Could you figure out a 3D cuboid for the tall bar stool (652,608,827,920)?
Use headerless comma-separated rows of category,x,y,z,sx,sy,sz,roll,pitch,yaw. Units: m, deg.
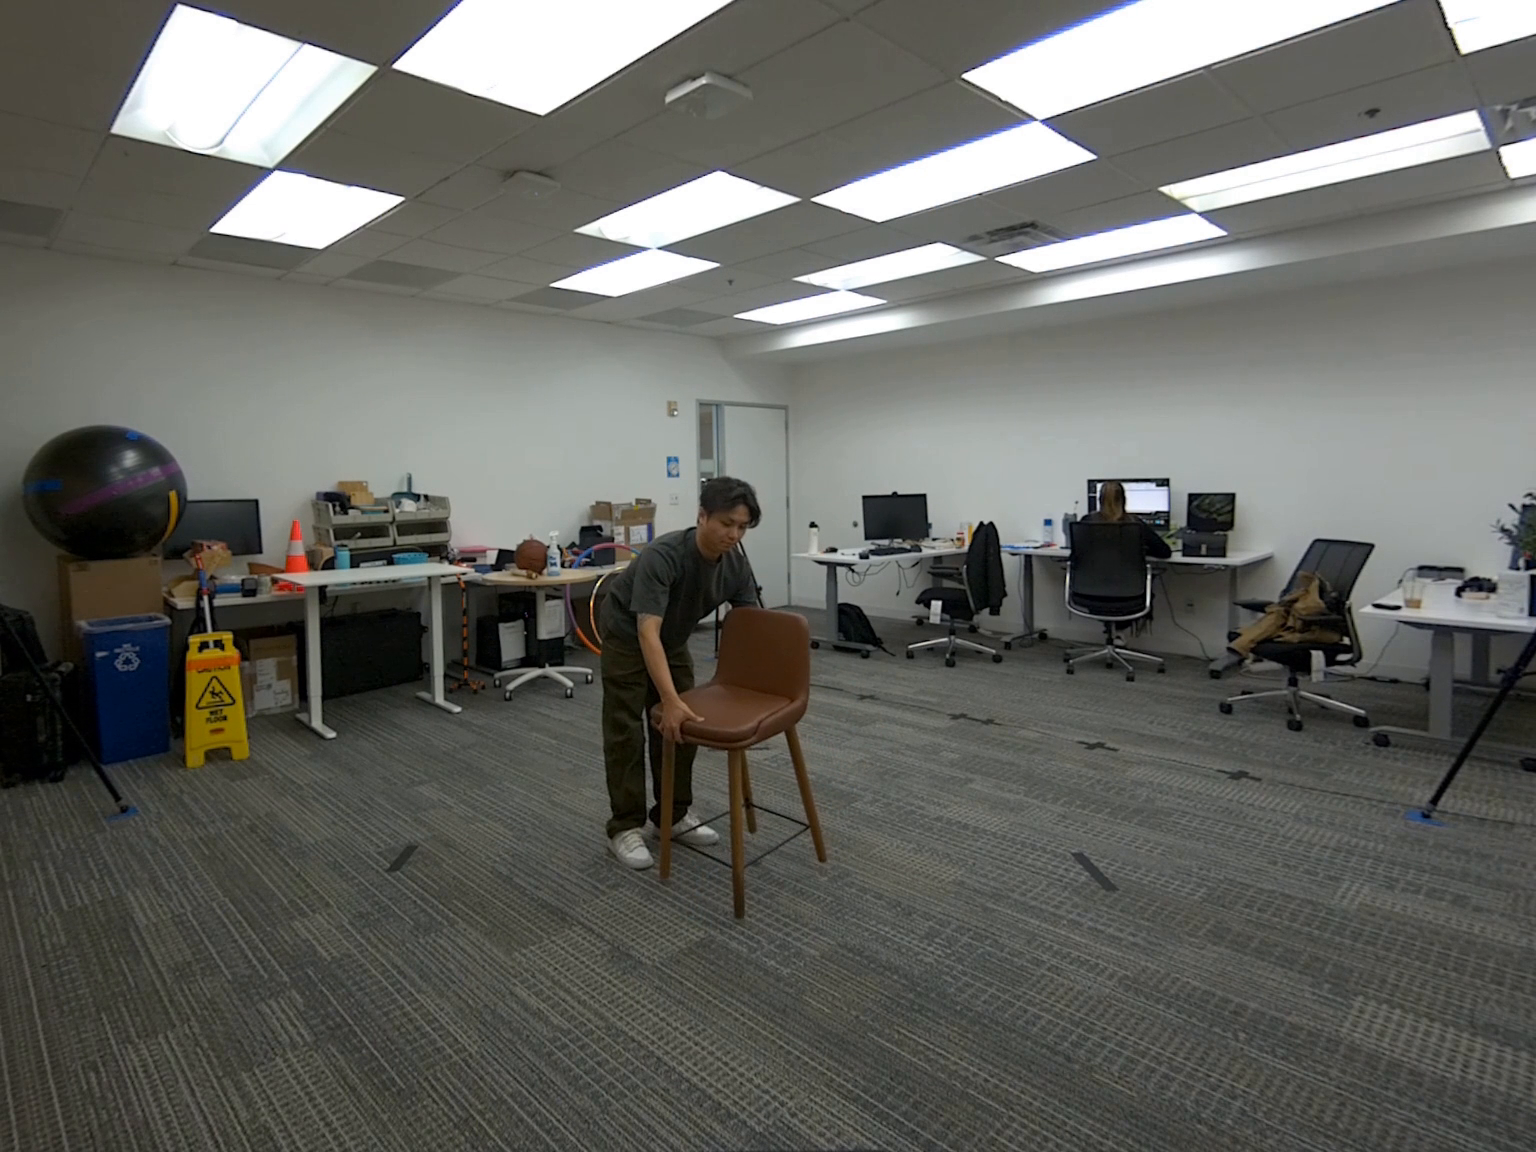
tall bar stool,-0.105,0.596,2.912,0.457,0.883,0.471,-11,10,-44
